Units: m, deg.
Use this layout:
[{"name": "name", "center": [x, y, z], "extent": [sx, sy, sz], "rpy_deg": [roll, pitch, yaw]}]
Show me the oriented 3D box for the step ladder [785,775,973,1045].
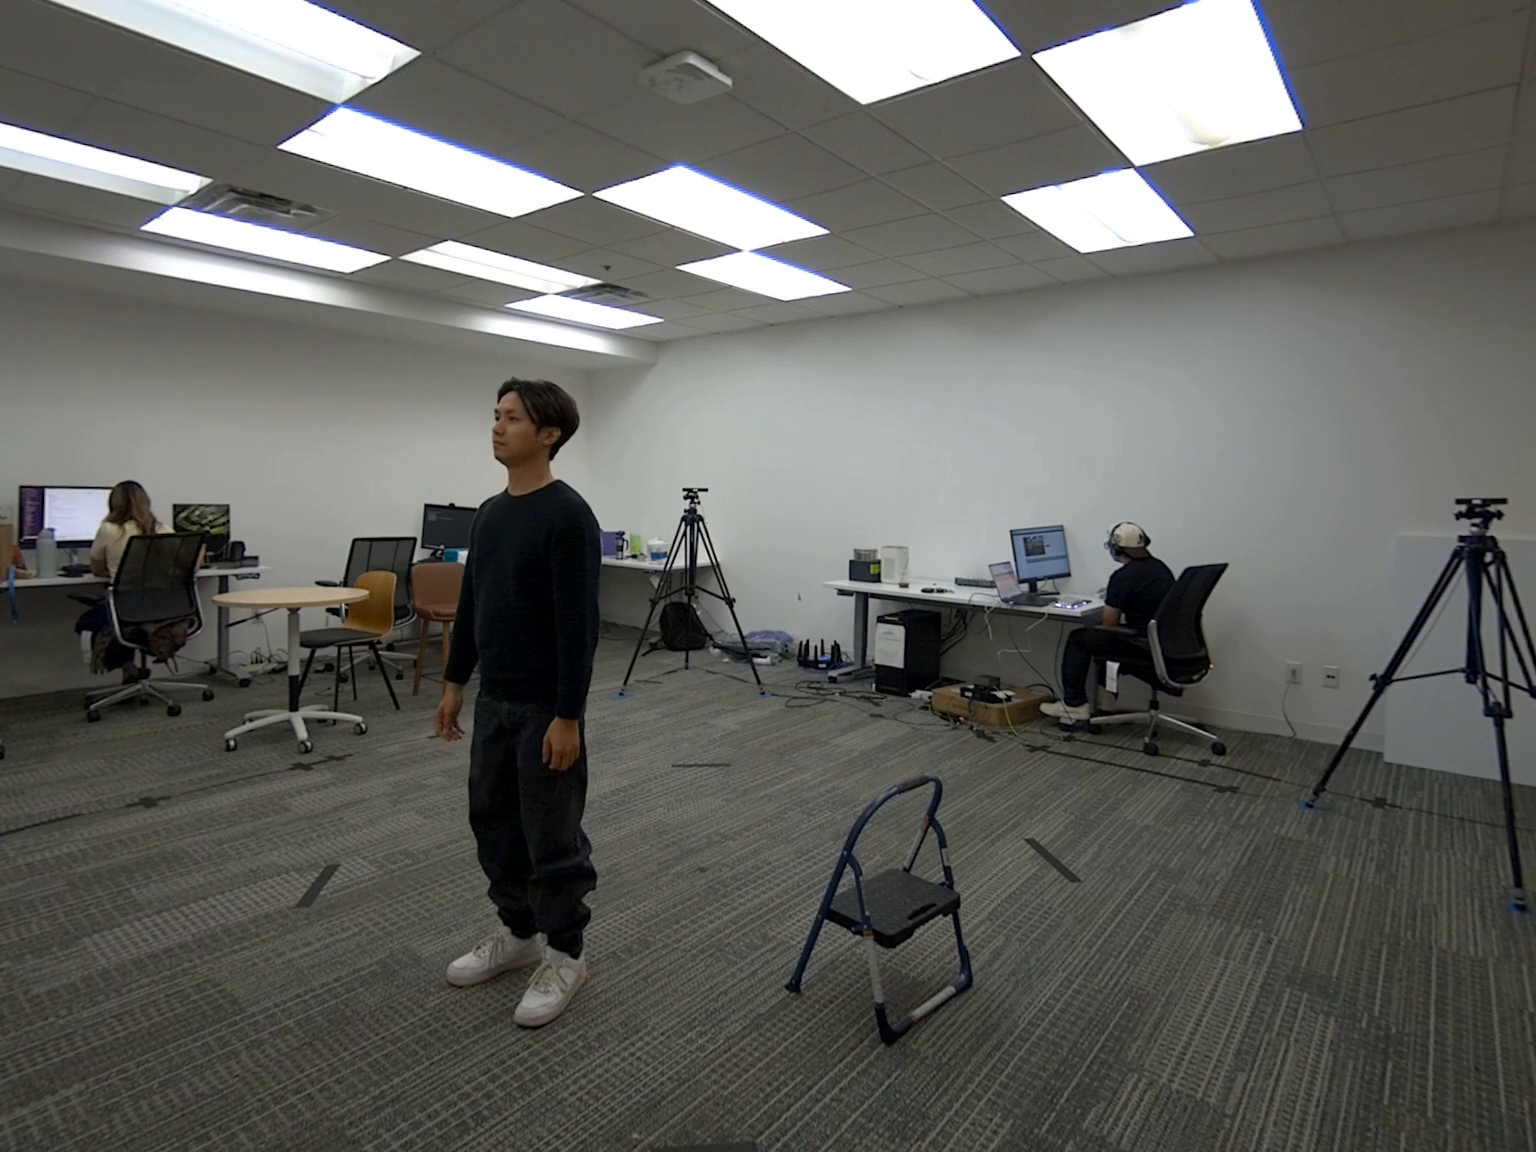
[{"name": "step ladder", "center": [0.316, 0.852, 2.383], "extent": [0.417, 0.604, 0.361], "rpy_deg": [-3, 5, -45]}]
